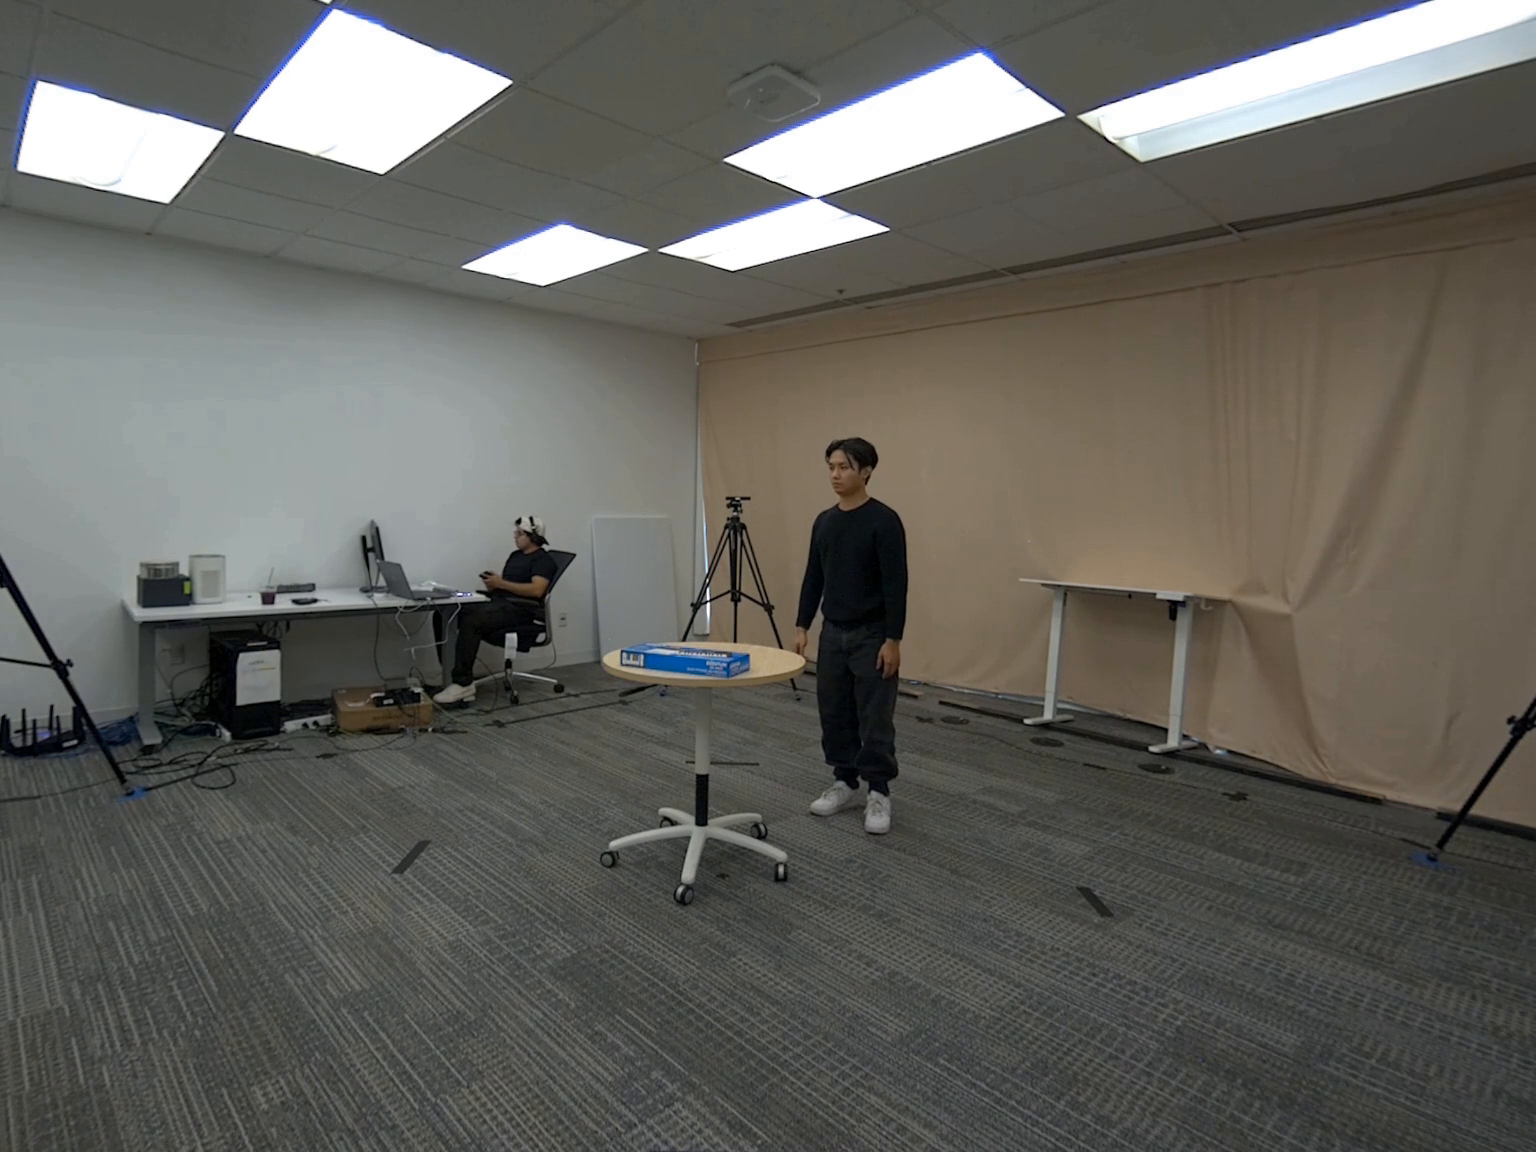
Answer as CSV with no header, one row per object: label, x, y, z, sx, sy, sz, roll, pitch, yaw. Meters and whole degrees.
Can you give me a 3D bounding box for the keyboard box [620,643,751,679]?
keyboard box,-0.307,0.301,3.005,0.445,0.059,0.173,3,5,26
